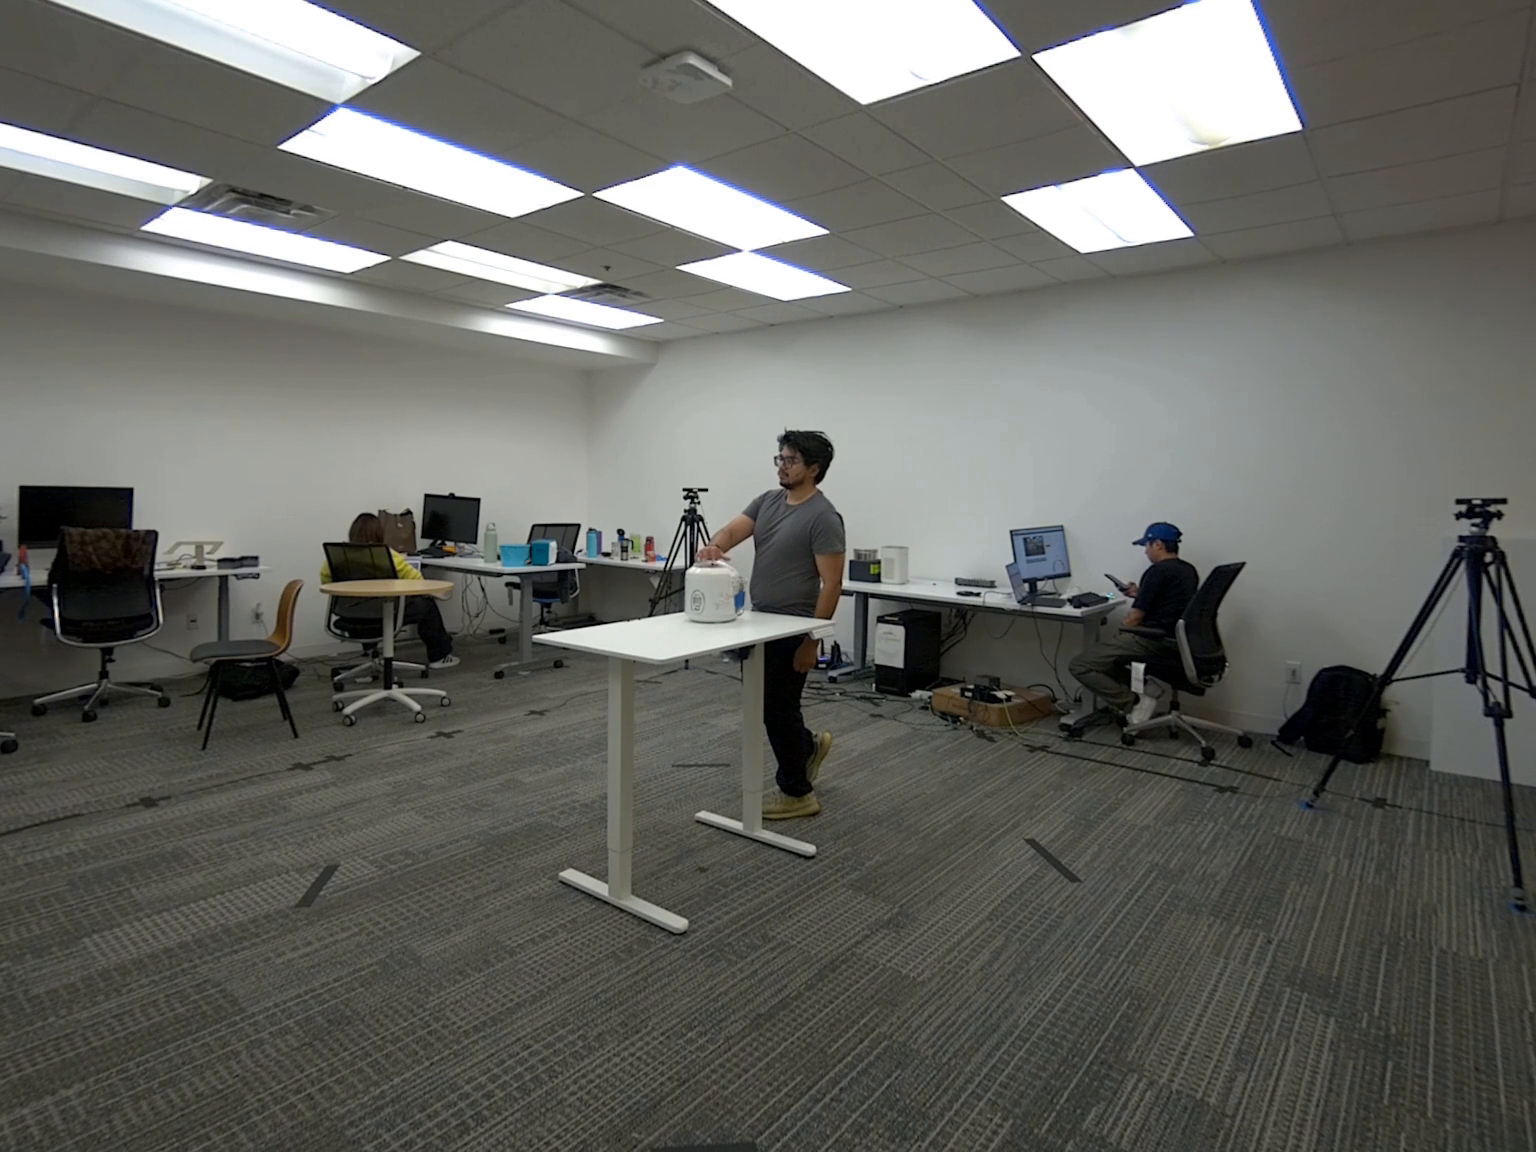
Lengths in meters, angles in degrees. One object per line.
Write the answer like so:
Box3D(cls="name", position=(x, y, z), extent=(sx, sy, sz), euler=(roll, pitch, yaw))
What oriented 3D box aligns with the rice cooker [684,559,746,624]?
Box3D(cls="rice cooker", position=(-0.224, 0.053, 3.281), extent=(0.227, 0.232, 0.212), euler=(2, 4, 29))
